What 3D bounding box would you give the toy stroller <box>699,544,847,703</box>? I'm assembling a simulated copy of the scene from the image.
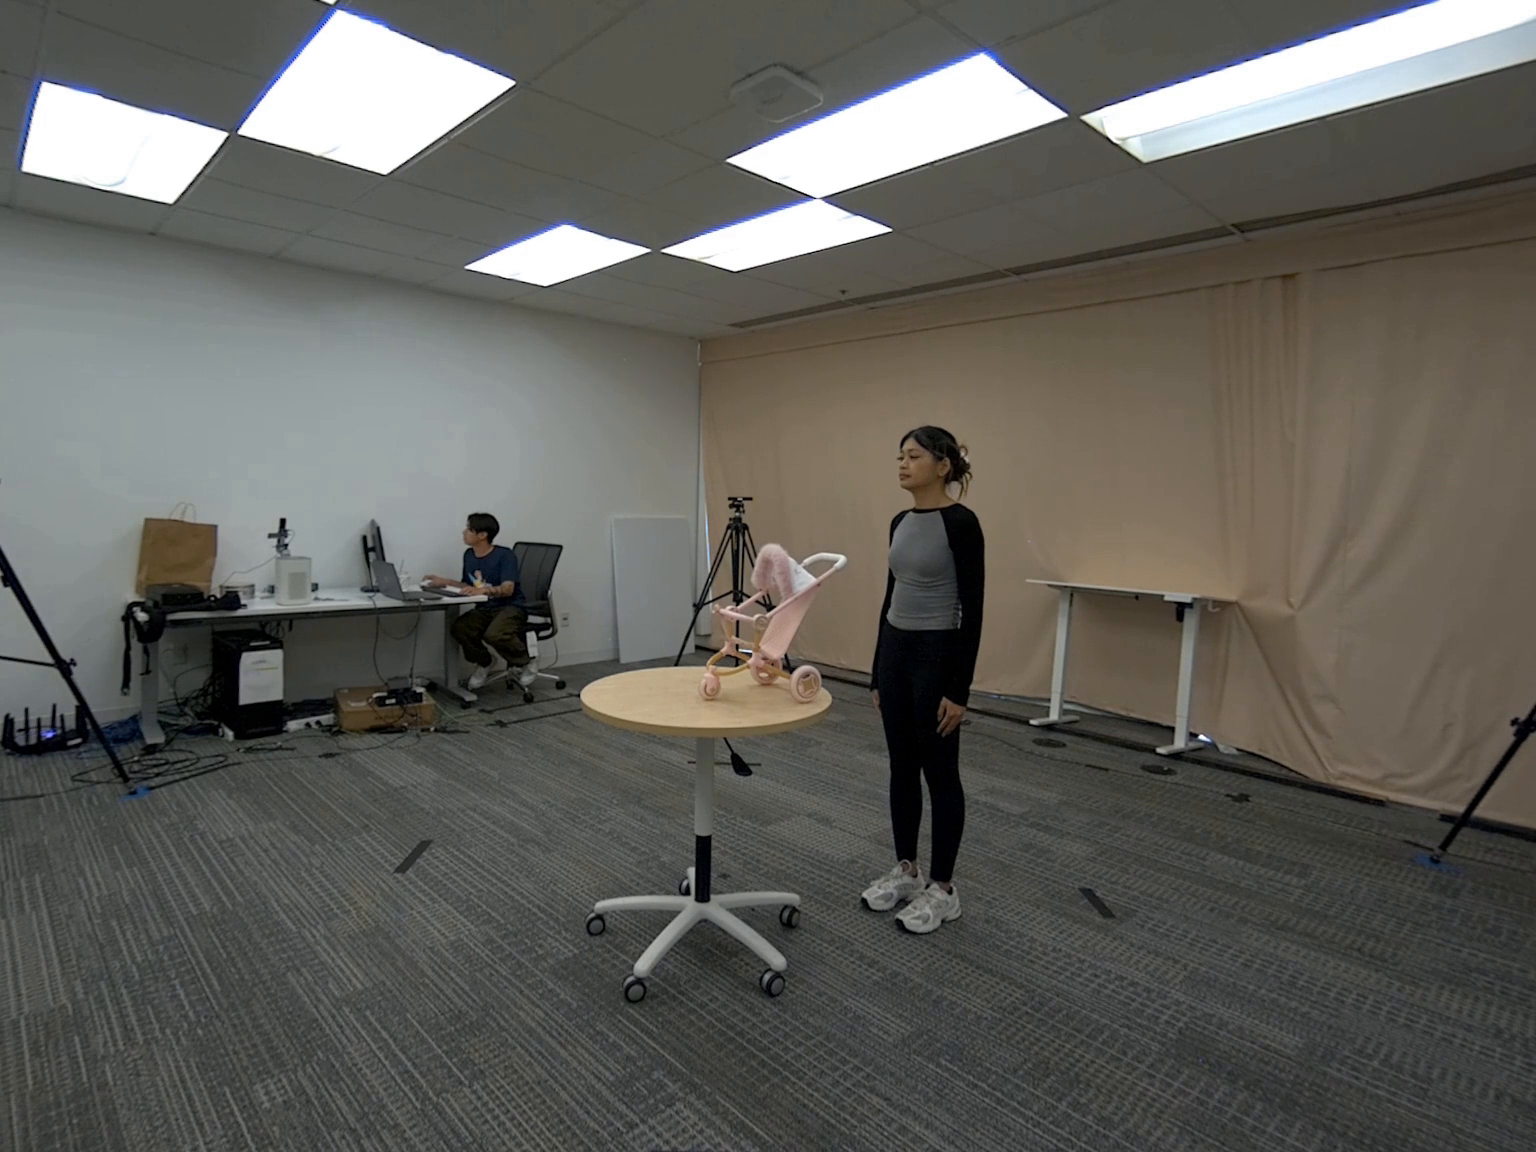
[{"bbox_3d":[-0.001,0.143,2.565,0.334,0.536,0.287,17,-3,-23],"label":"toy stroller"}]
